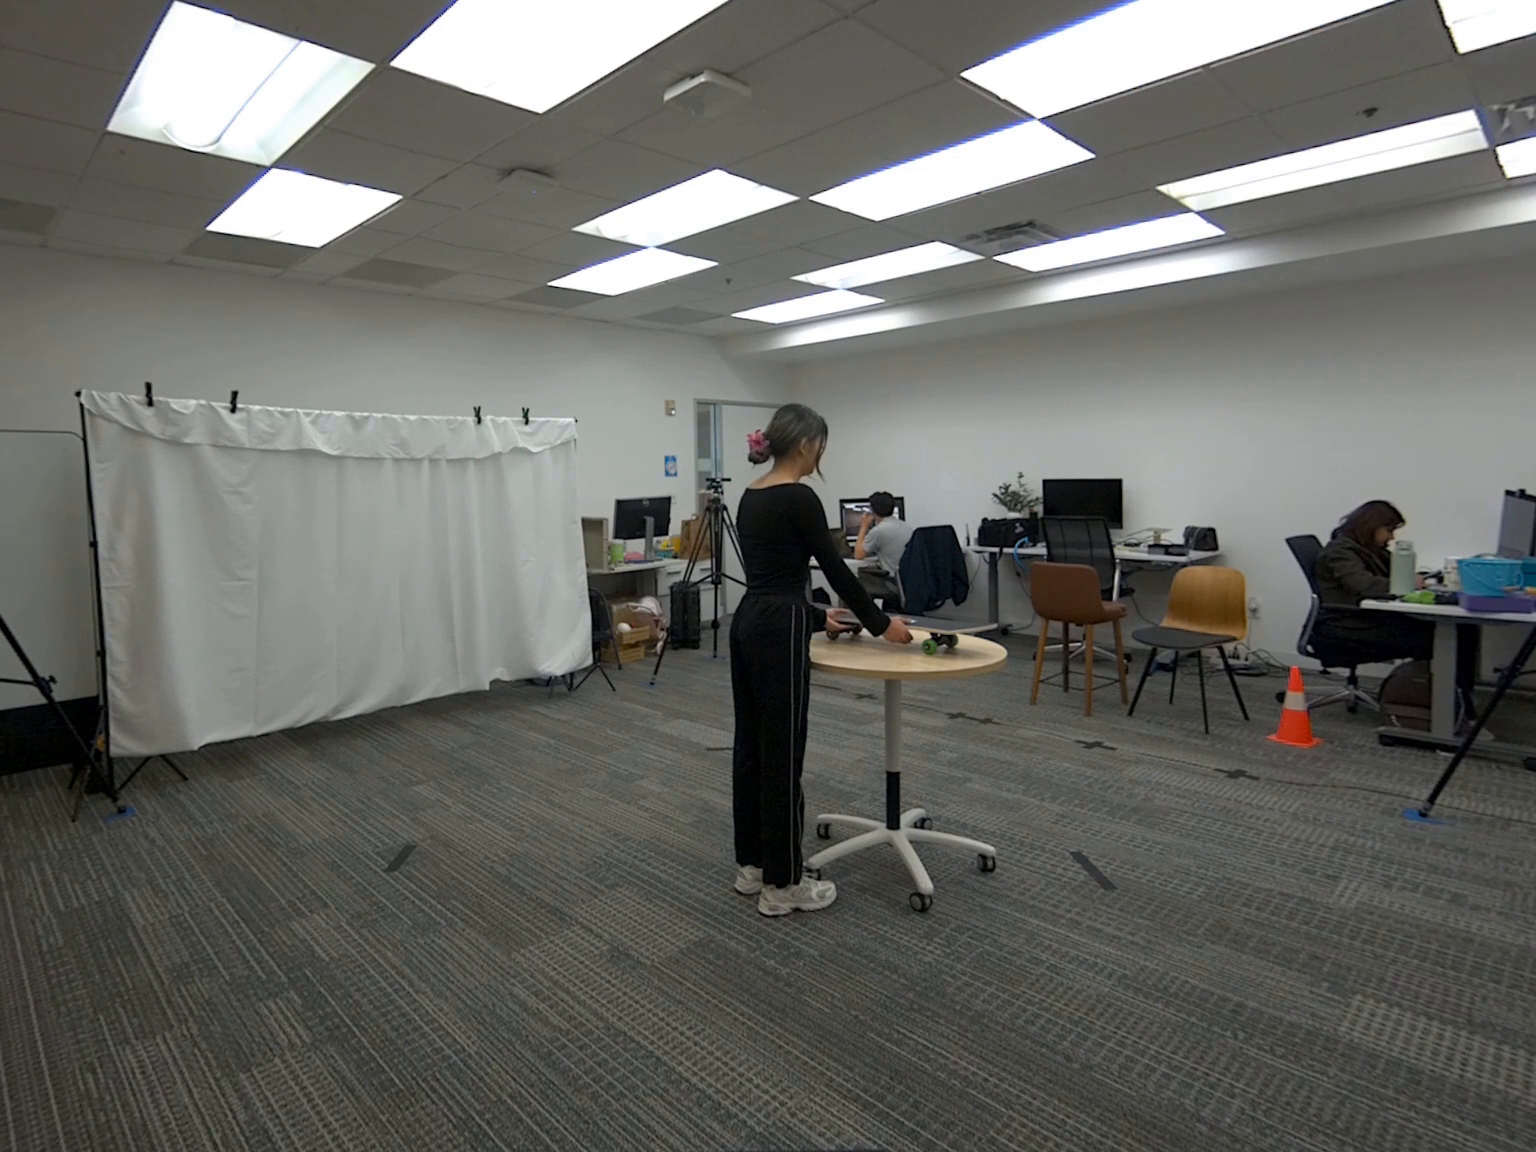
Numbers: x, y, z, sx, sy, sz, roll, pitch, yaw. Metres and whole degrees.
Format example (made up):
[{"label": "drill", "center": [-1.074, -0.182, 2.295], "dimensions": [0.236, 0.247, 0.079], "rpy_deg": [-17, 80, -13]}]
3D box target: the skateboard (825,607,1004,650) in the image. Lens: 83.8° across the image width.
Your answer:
[{"label": "skateboard", "center": [0.444, 0.193, 3.079], "dimensions": [0.809, 0.110, 0.188], "rpy_deg": [5, 5, 39]}]
